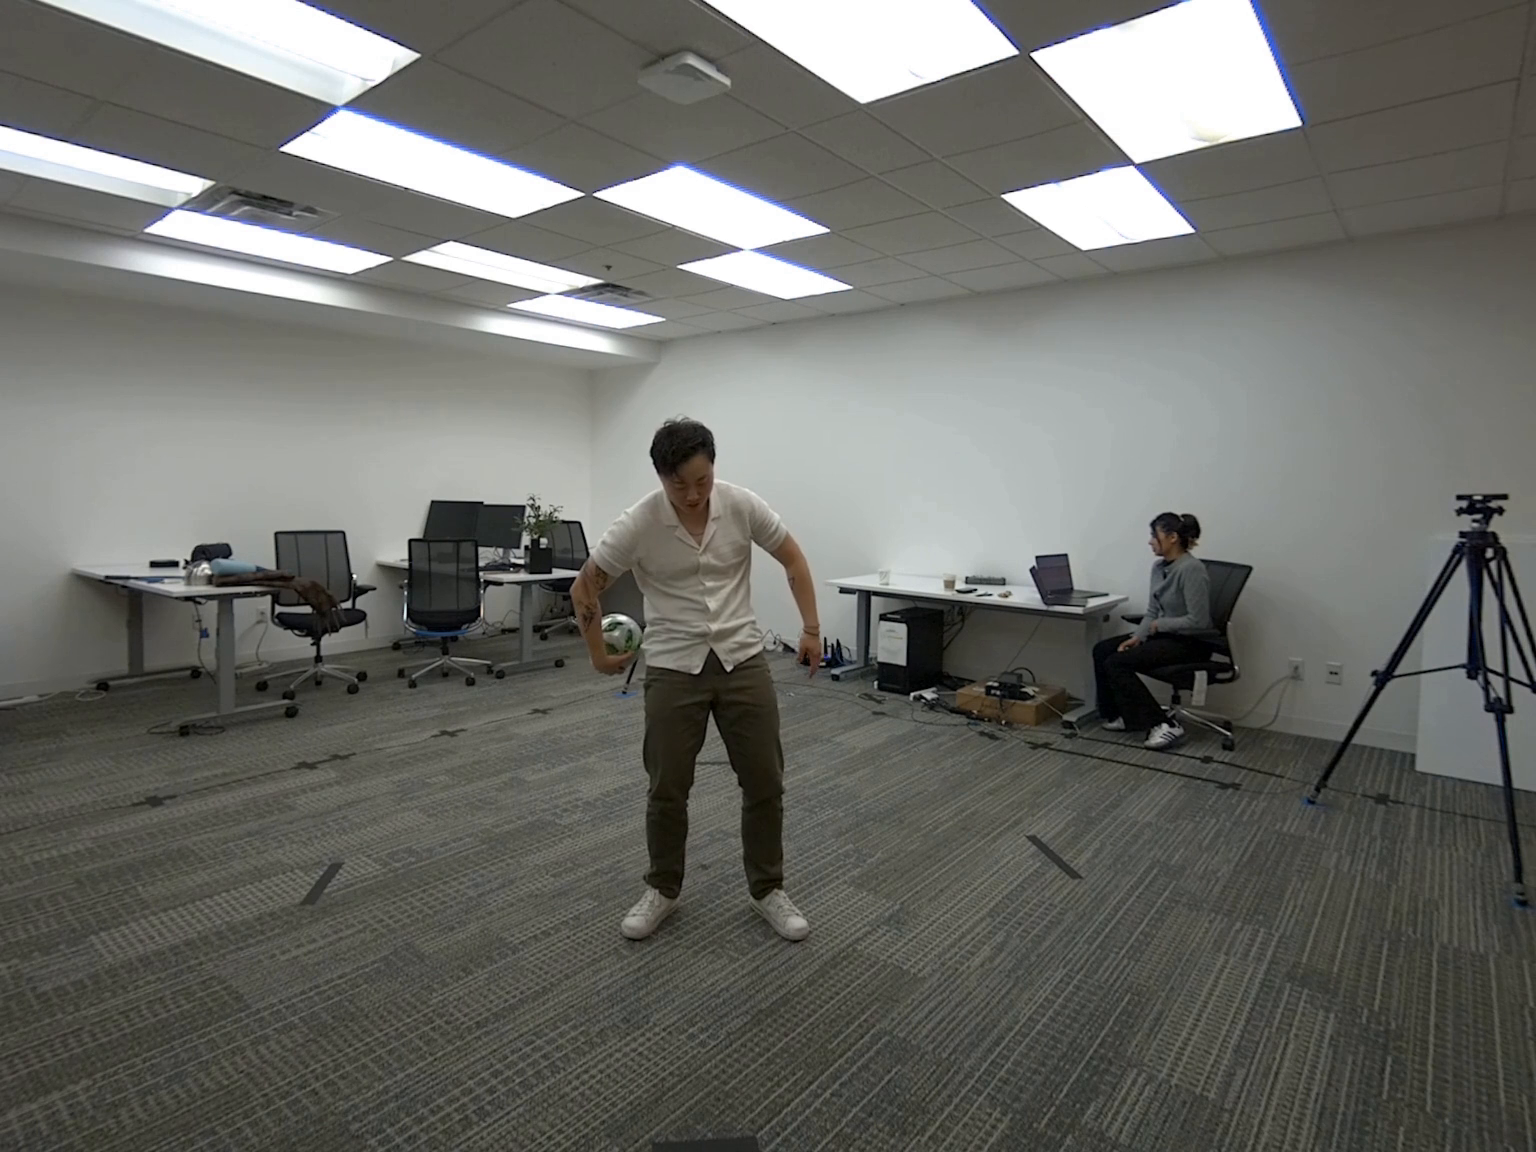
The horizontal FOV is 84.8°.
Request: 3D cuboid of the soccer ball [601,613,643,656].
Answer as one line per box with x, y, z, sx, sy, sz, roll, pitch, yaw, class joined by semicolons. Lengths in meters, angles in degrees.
-0.517;0.221;2.865;0.187;0.187;0.188;1;4;-2;soccer ball
